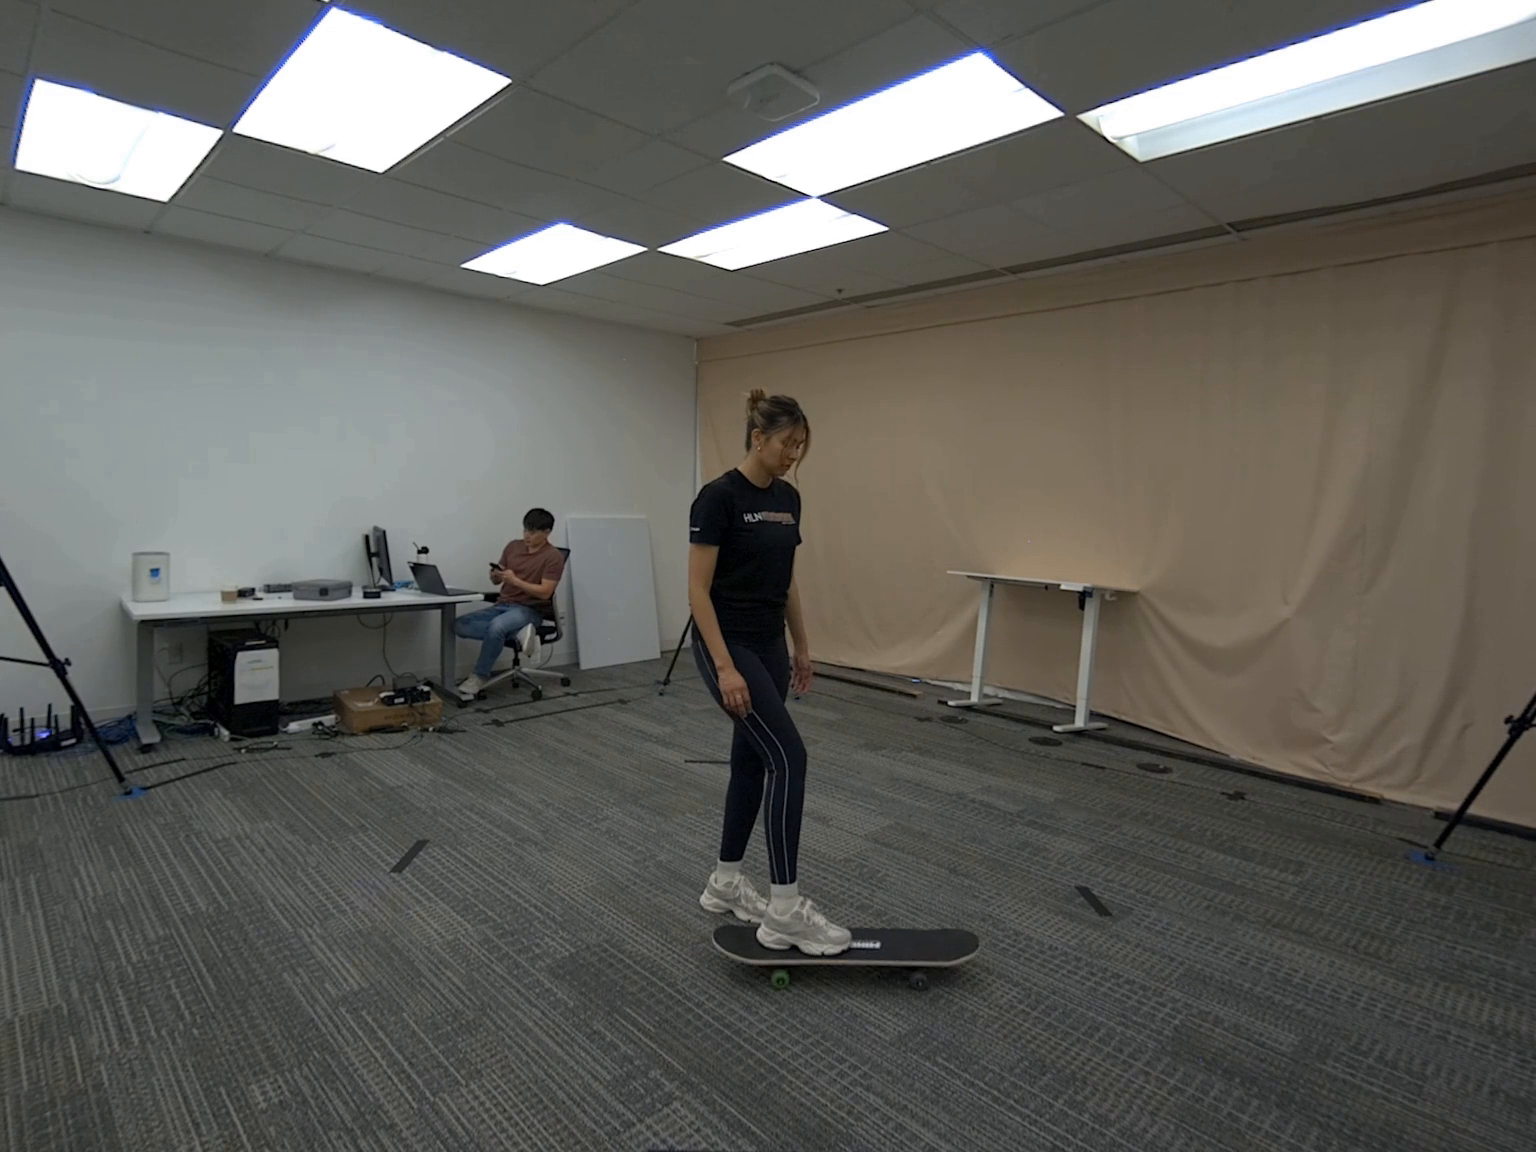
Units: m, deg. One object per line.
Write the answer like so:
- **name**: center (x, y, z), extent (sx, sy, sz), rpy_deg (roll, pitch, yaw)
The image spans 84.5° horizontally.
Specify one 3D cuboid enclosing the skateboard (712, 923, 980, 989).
- **skateboard**: center (0.226, 1.118, 2.476), extent (0.785, 0.110, 0.194), rpy_deg (1, 4, -1)
